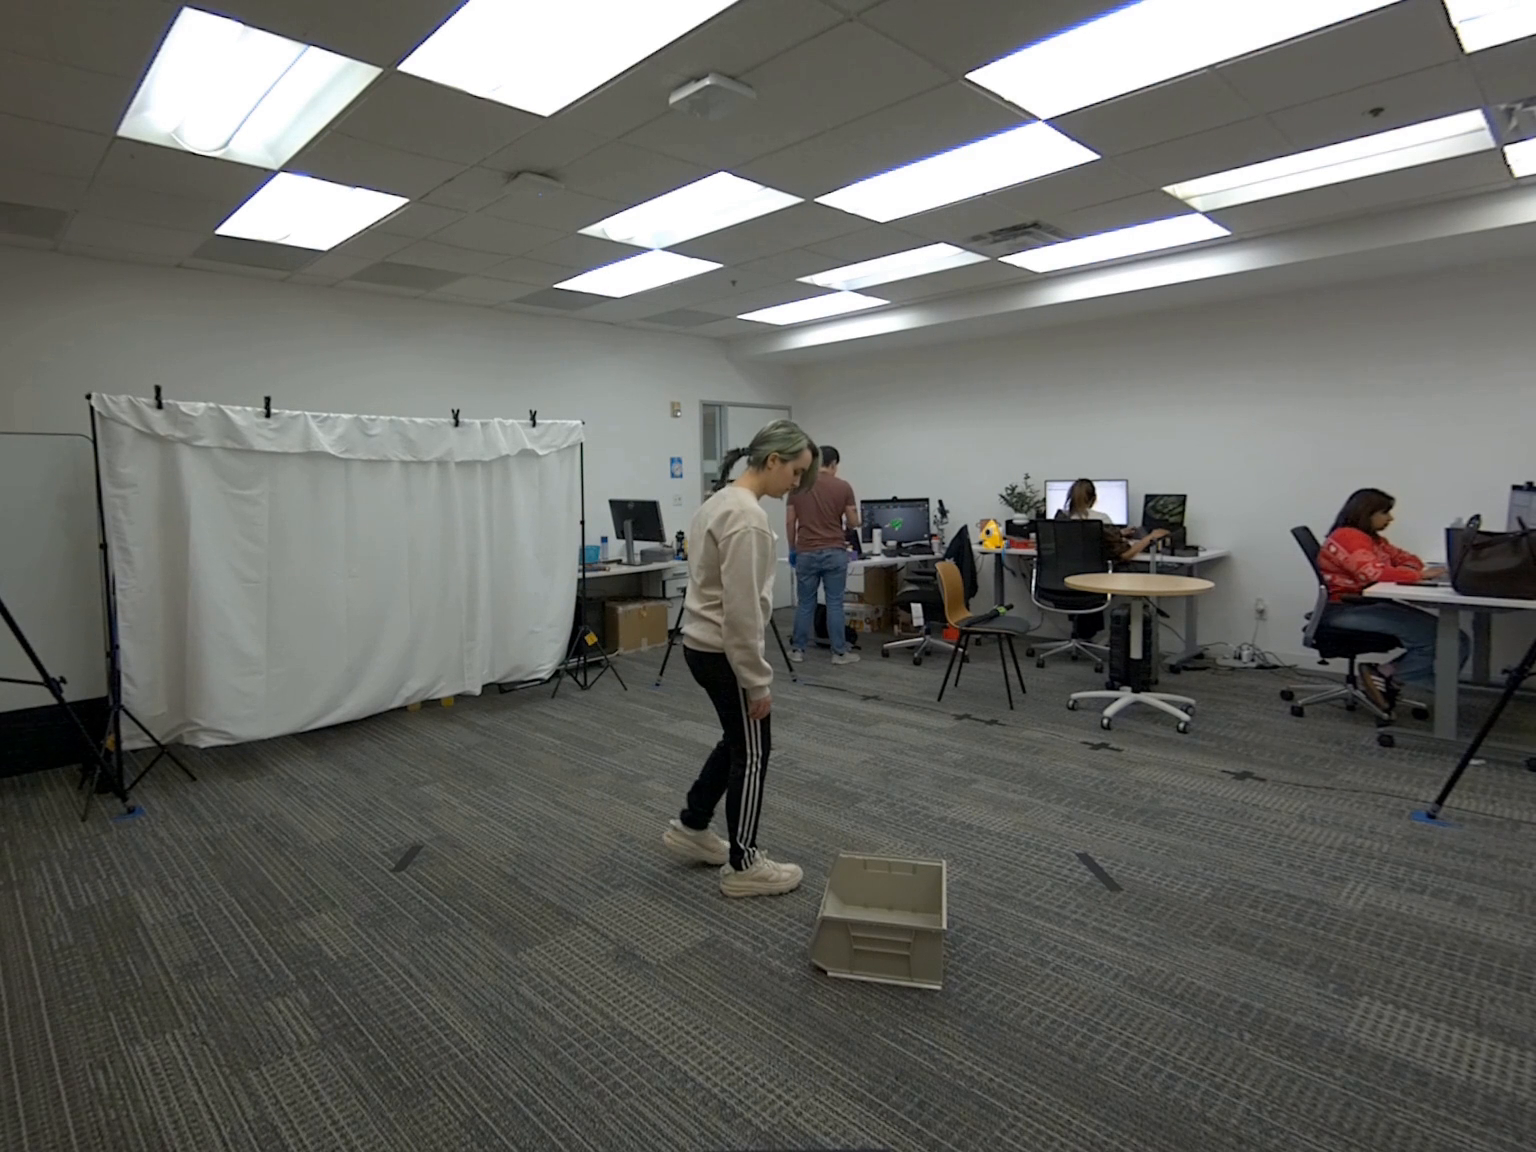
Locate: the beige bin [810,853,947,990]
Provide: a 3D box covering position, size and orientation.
[{"bbox_3d":[0.347,1.018,2.552,0.382,0.188,0.419,1,6,12],"label":"beige bin"}]
